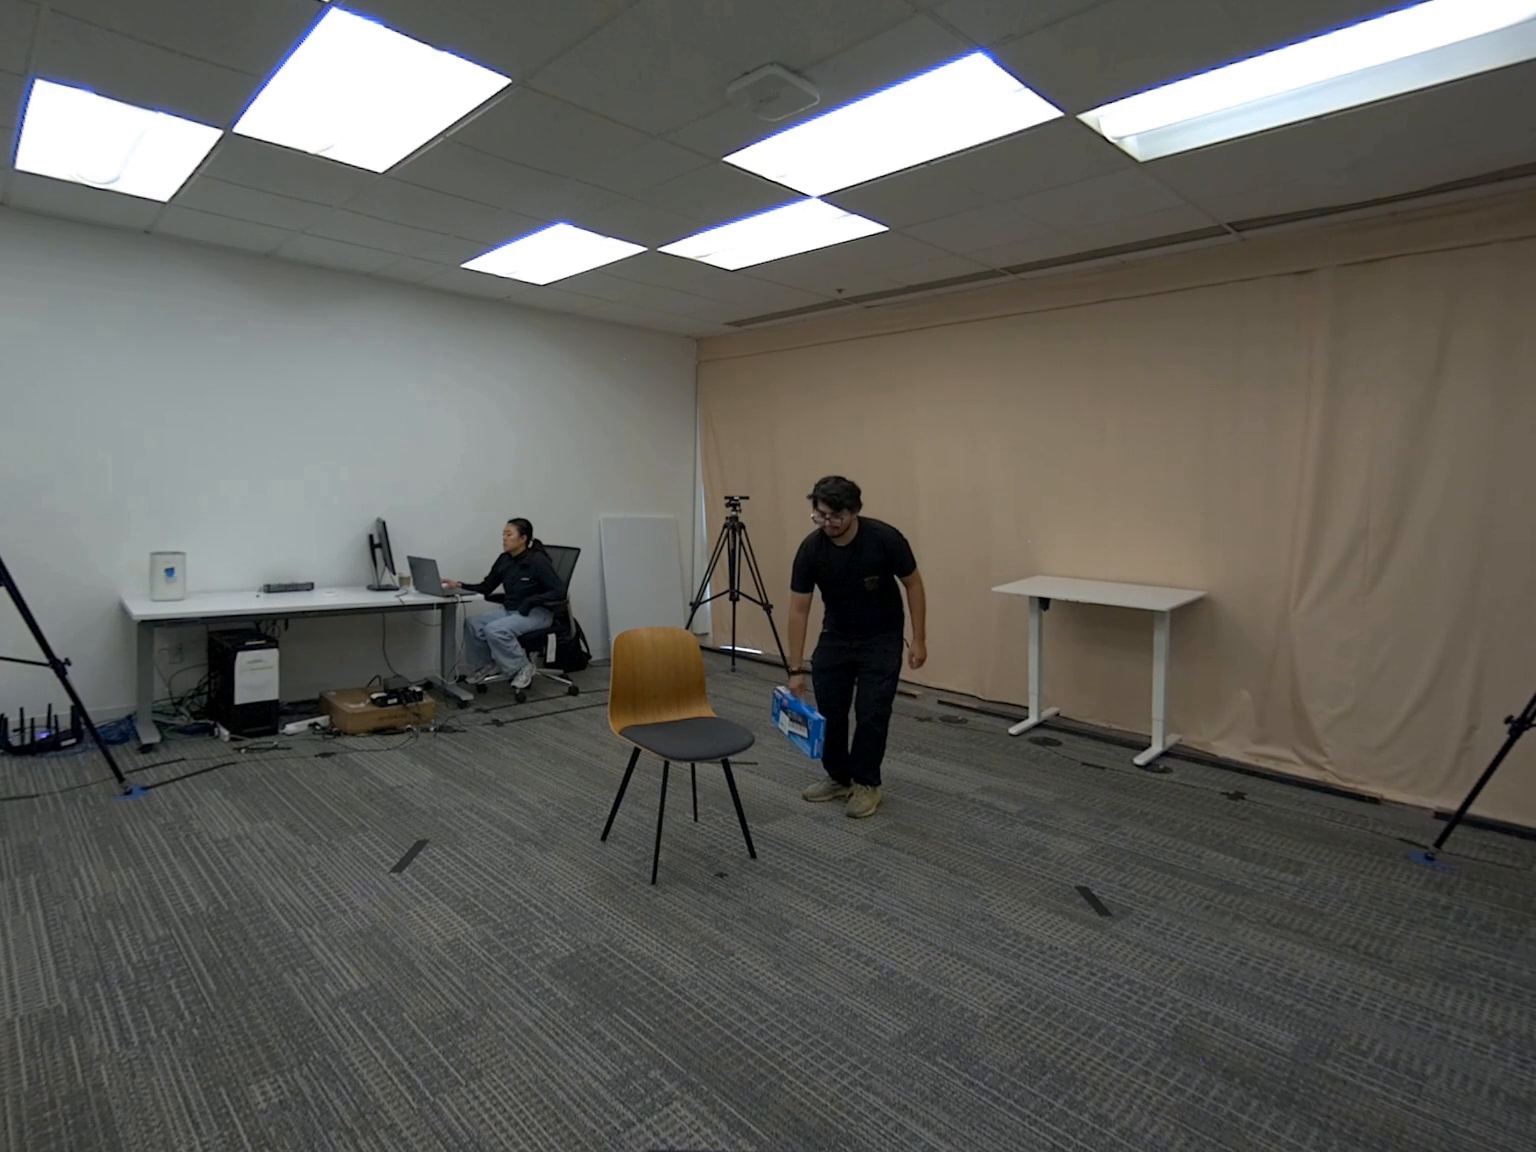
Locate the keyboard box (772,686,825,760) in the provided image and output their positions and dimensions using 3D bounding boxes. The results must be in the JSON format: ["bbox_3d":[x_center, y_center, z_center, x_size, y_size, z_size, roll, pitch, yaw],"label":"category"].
[{"bbox_3d":[0.120,0.646,3.737,0.058,0.175,0.446,2,9,-21],"label":"keyboard box"}]
